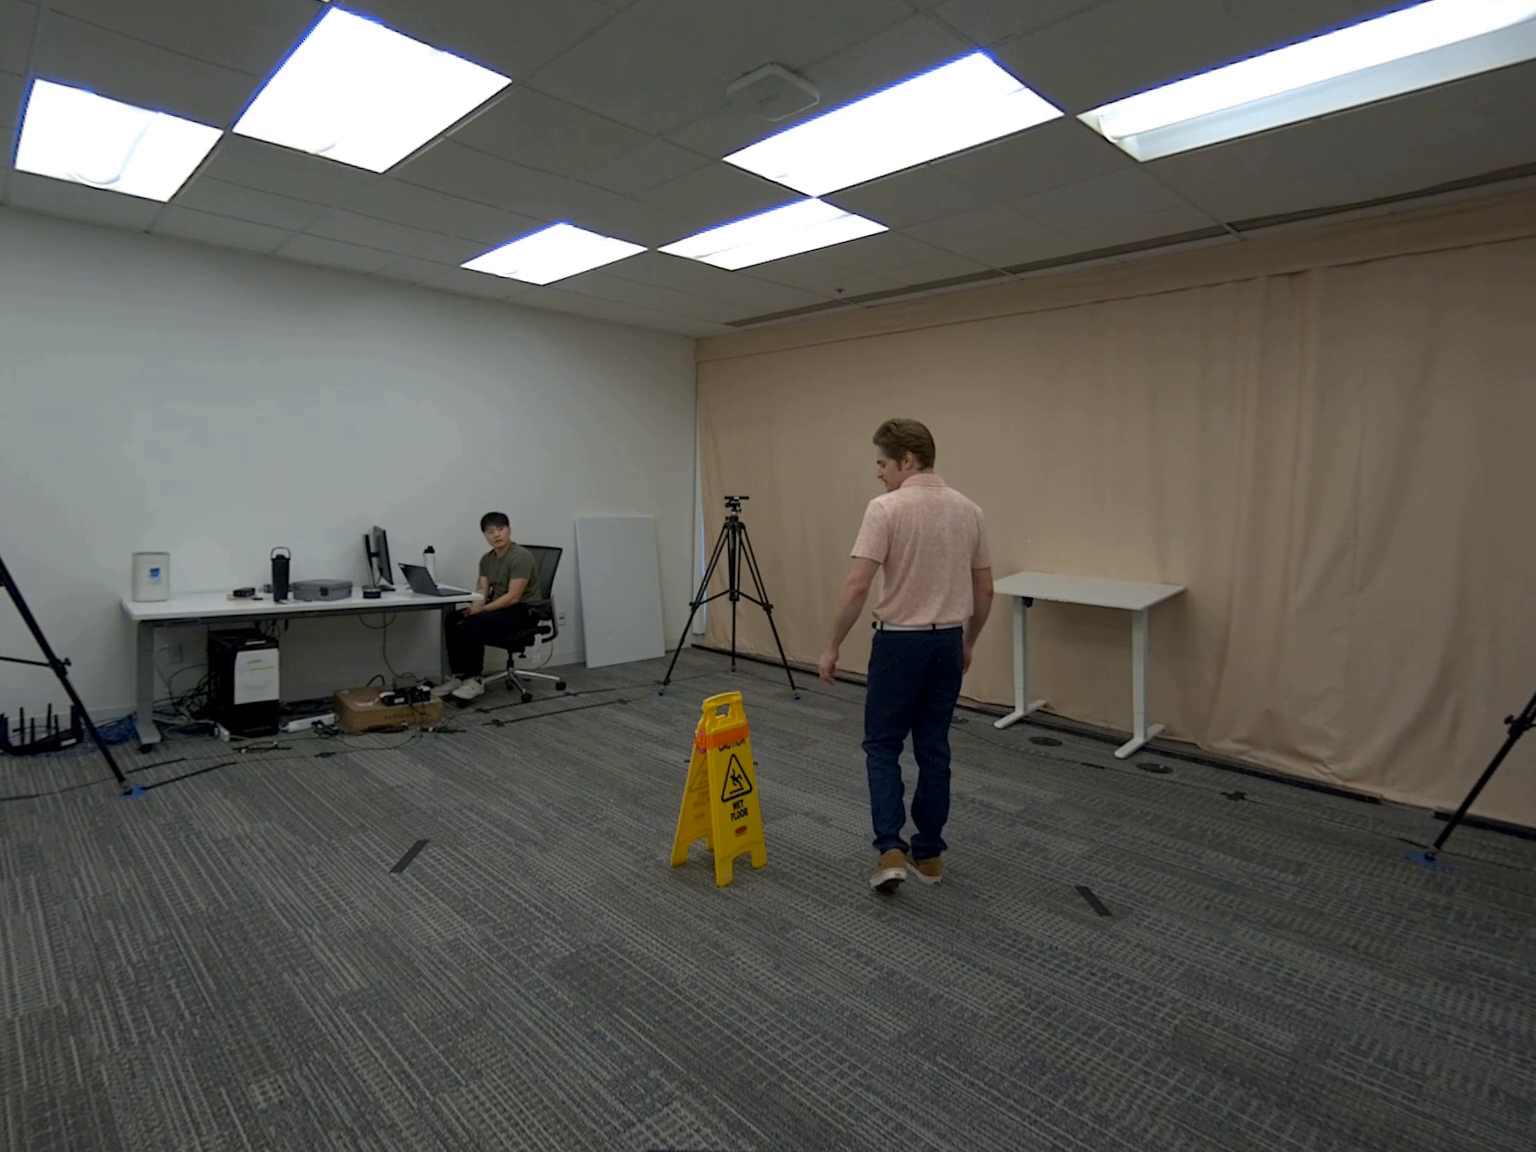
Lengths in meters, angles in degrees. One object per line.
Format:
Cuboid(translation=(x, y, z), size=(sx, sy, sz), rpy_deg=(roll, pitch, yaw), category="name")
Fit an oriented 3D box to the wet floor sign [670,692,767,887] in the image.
Cuboid(translation=(-0.179, 0.768, 3.164), size=(0.297, 0.644, 0.276), rpy_deg=(5, 5, 39), category="wet floor sign")
